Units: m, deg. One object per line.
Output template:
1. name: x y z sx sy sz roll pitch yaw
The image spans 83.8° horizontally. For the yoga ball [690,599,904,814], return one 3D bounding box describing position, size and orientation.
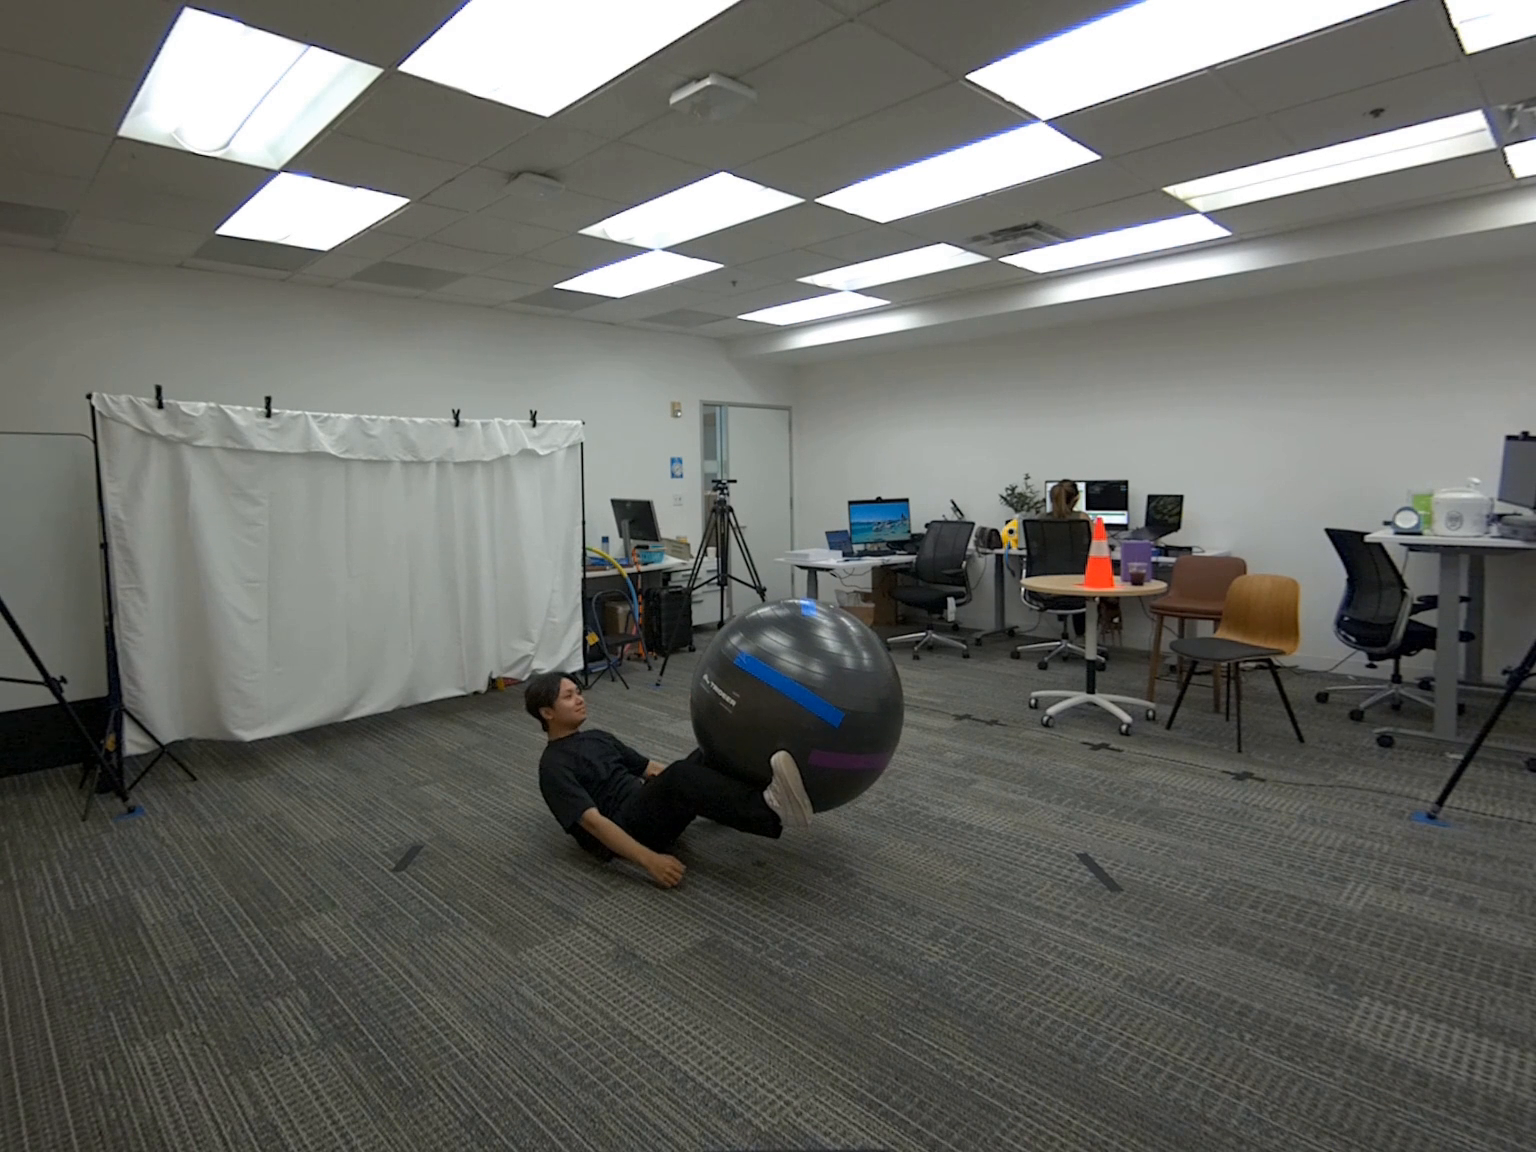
1. yoga ball: 0.098 0.459 3.073 0.757 0.755 0.762 -1 5 -2
